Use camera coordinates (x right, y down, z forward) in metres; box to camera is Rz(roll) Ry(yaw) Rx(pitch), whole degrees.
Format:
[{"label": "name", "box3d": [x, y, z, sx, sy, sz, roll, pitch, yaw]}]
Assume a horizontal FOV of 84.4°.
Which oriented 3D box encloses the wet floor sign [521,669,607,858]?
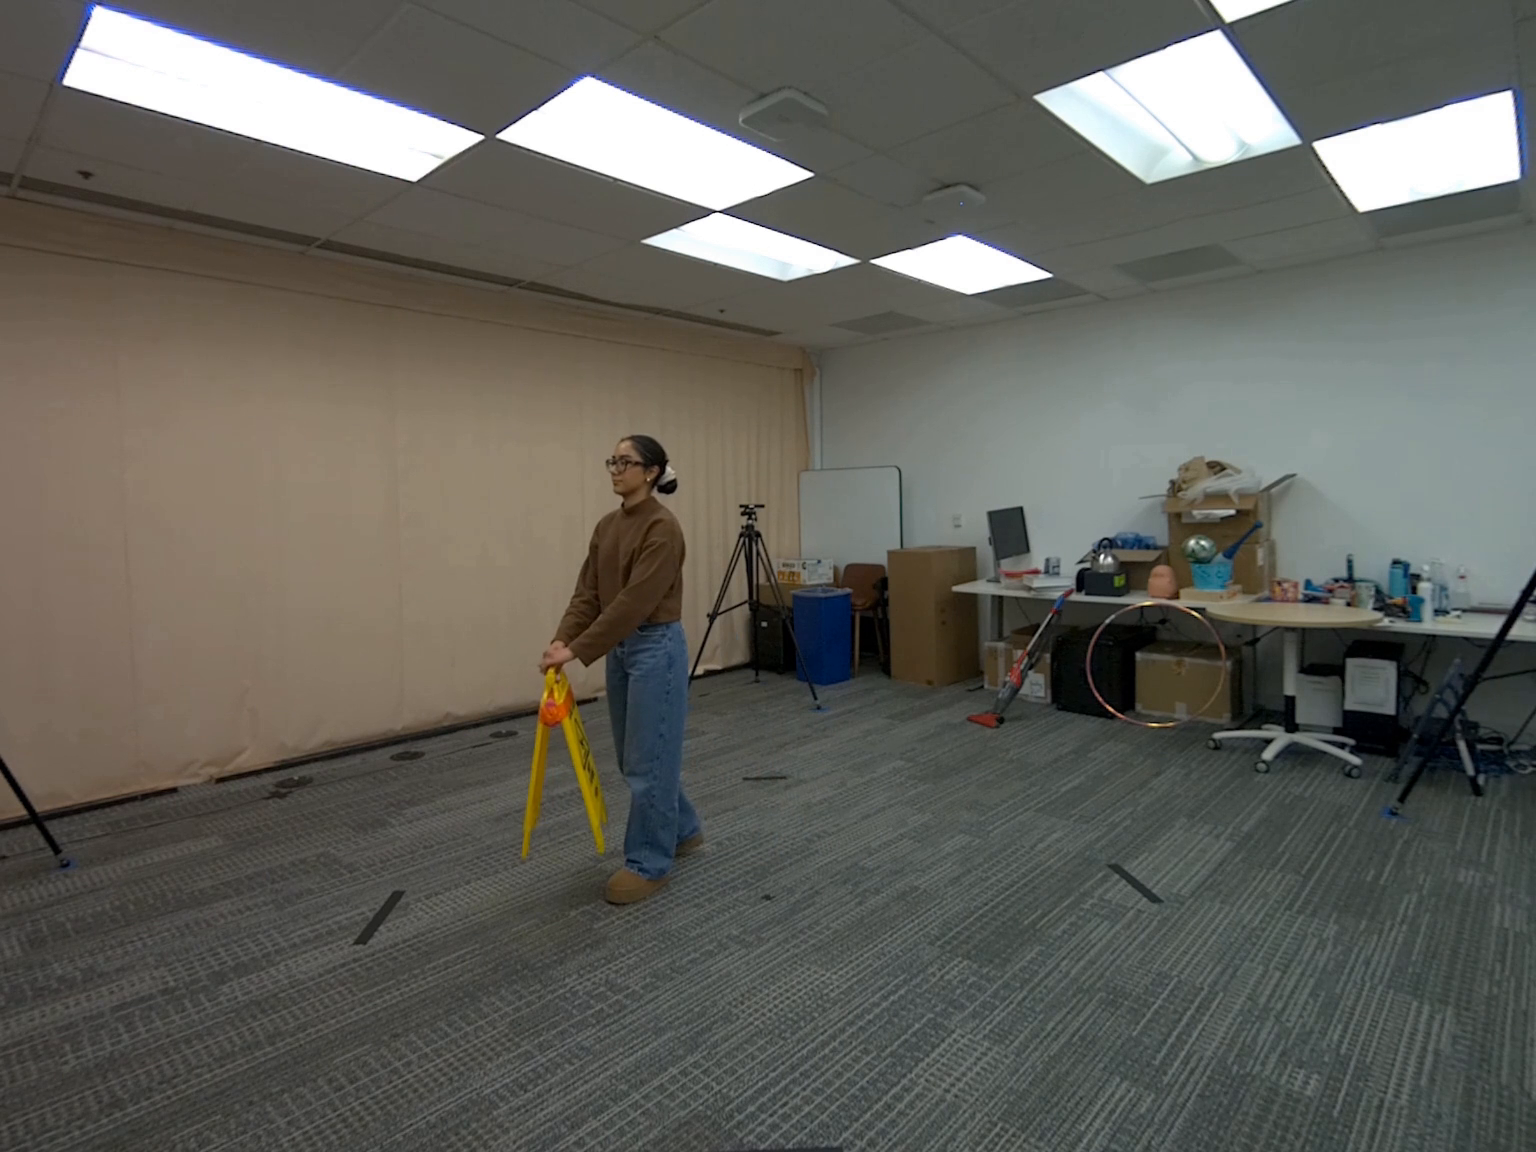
[{"label": "wet floor sign", "box3d": [-0.715, 0.607, 2.896, 0.288, 0.642, 0.286, -1, 11, -6]}]
